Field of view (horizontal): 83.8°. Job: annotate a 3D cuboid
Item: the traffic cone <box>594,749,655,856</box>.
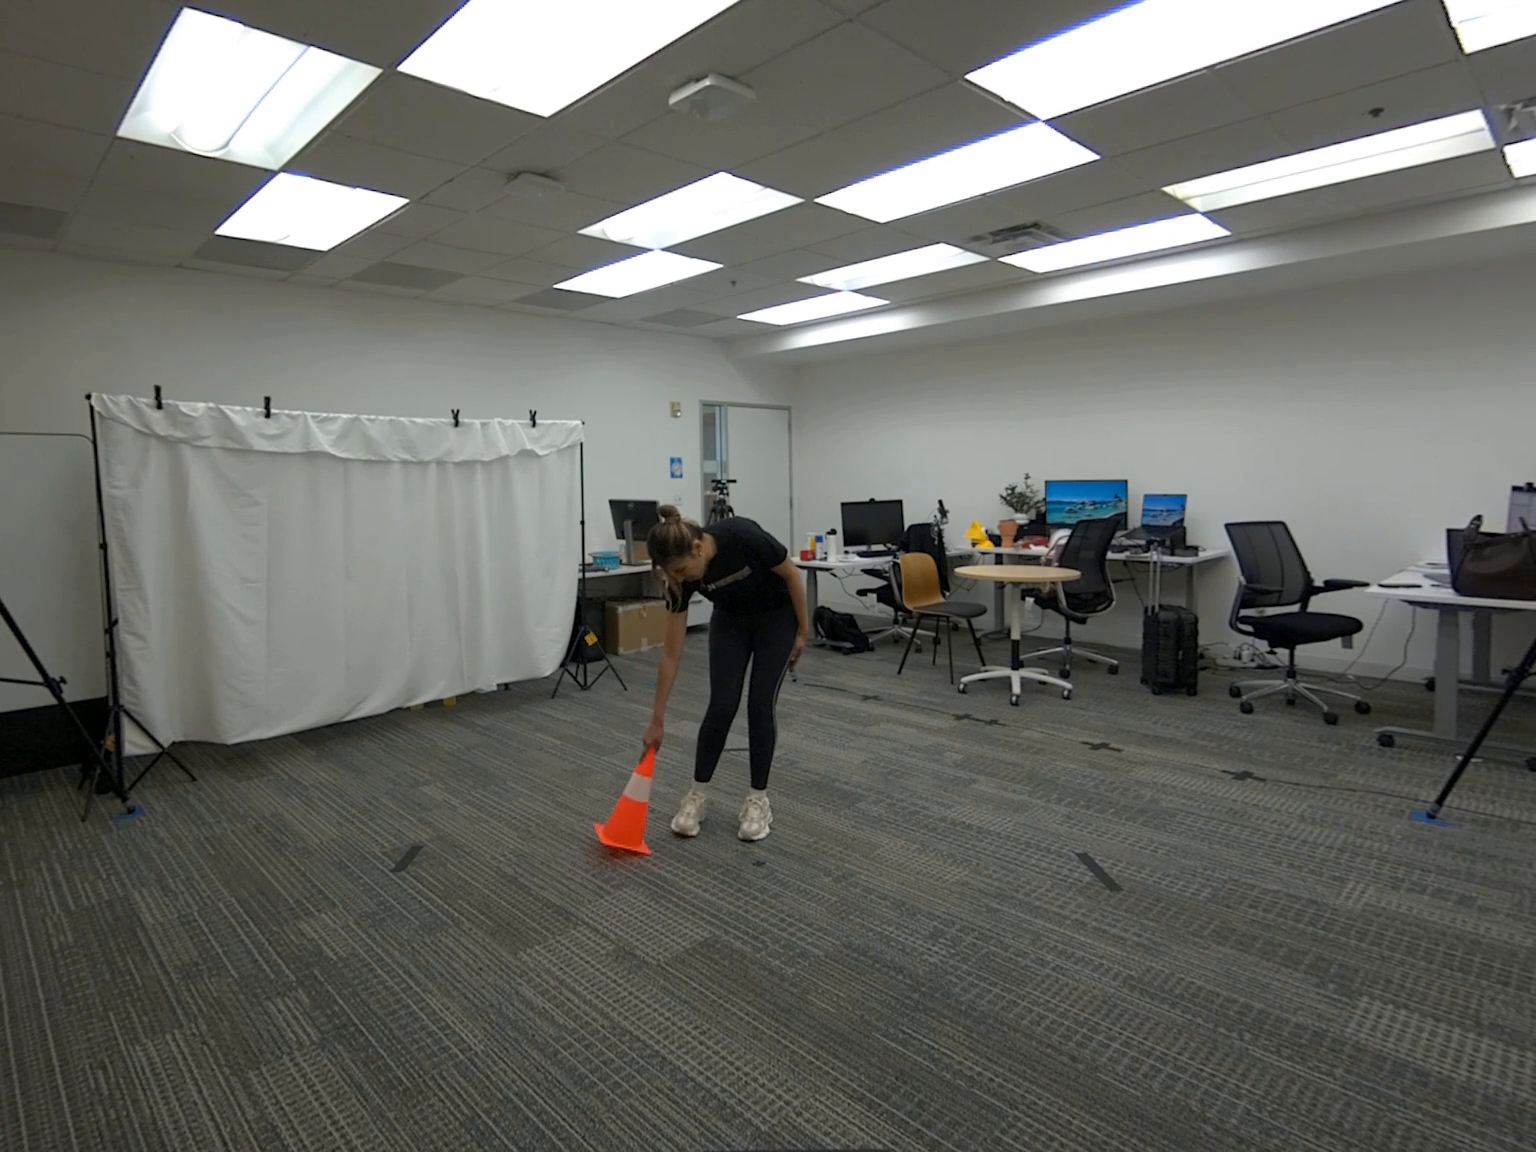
[{"bbox_3d":[-0.489,0.831,3.277,0.201,0.384,0.207,19,-2,-18],"label":"traffic cone"}]
